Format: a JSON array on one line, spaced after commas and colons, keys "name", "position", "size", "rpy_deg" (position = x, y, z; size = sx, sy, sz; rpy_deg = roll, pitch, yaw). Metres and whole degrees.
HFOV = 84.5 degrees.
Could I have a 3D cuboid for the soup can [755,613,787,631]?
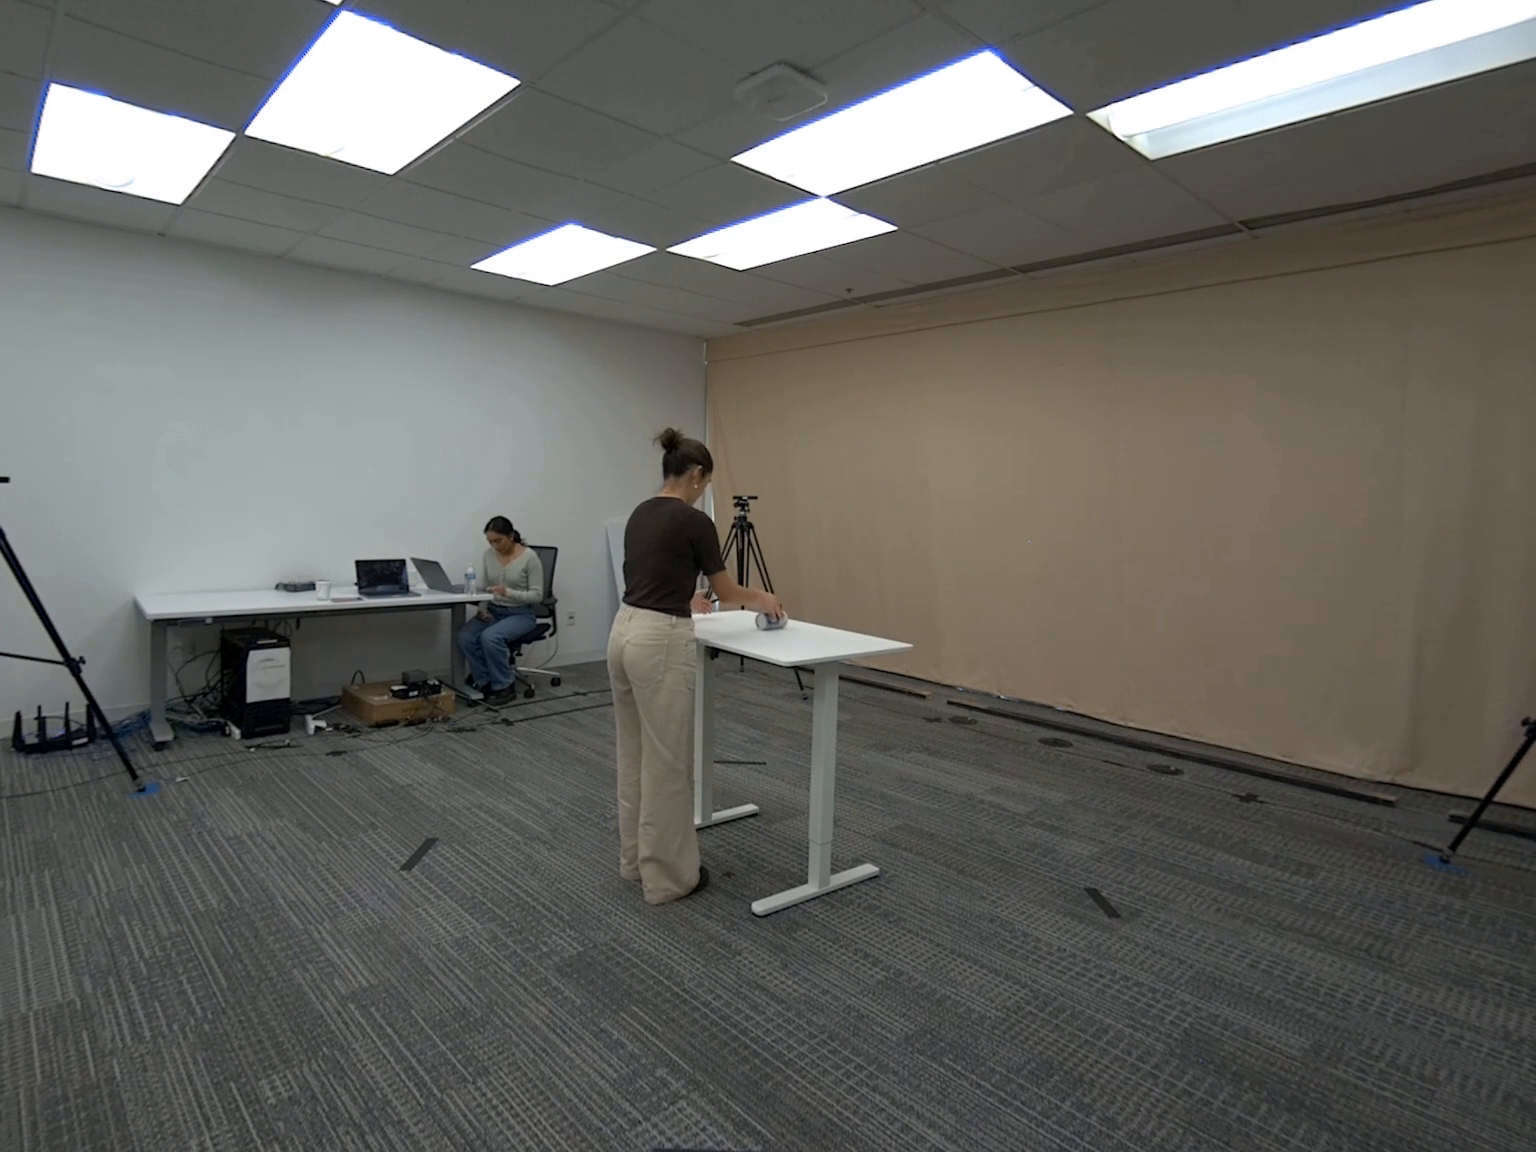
[{"name": "soup can", "position": [0.011, 0.175, 3.277], "size": [0.118, 0.067, 0.069], "rpy_deg": [1, 3, -44]}]
